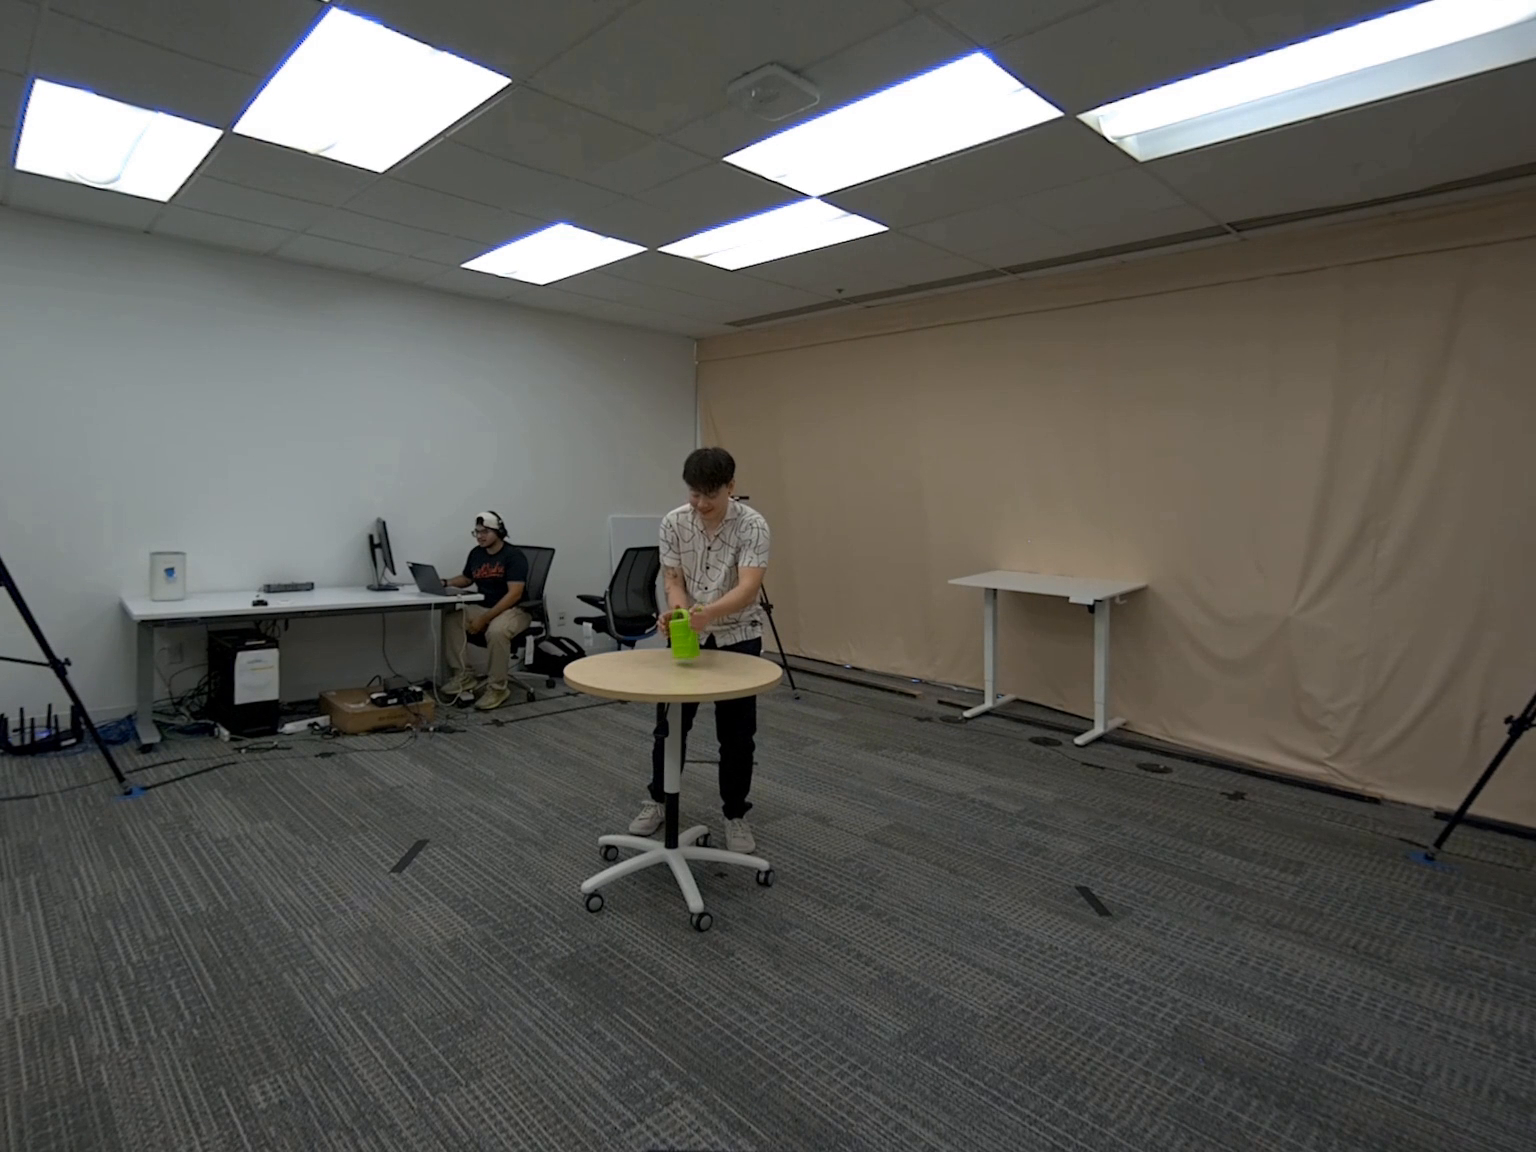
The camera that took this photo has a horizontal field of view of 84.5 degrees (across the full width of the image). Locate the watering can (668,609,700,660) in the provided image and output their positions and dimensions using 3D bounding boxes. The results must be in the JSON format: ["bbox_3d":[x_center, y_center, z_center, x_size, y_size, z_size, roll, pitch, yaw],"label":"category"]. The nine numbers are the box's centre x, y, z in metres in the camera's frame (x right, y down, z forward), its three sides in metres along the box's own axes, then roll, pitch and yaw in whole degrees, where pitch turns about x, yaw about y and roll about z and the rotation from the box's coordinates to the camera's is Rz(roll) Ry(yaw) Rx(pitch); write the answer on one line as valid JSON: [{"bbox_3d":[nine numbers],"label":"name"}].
[{"bbox_3d":[-0.305,0.205,2.984,0.097,0.177,0.279,-4,-3,-11],"label":"watering can"}]
